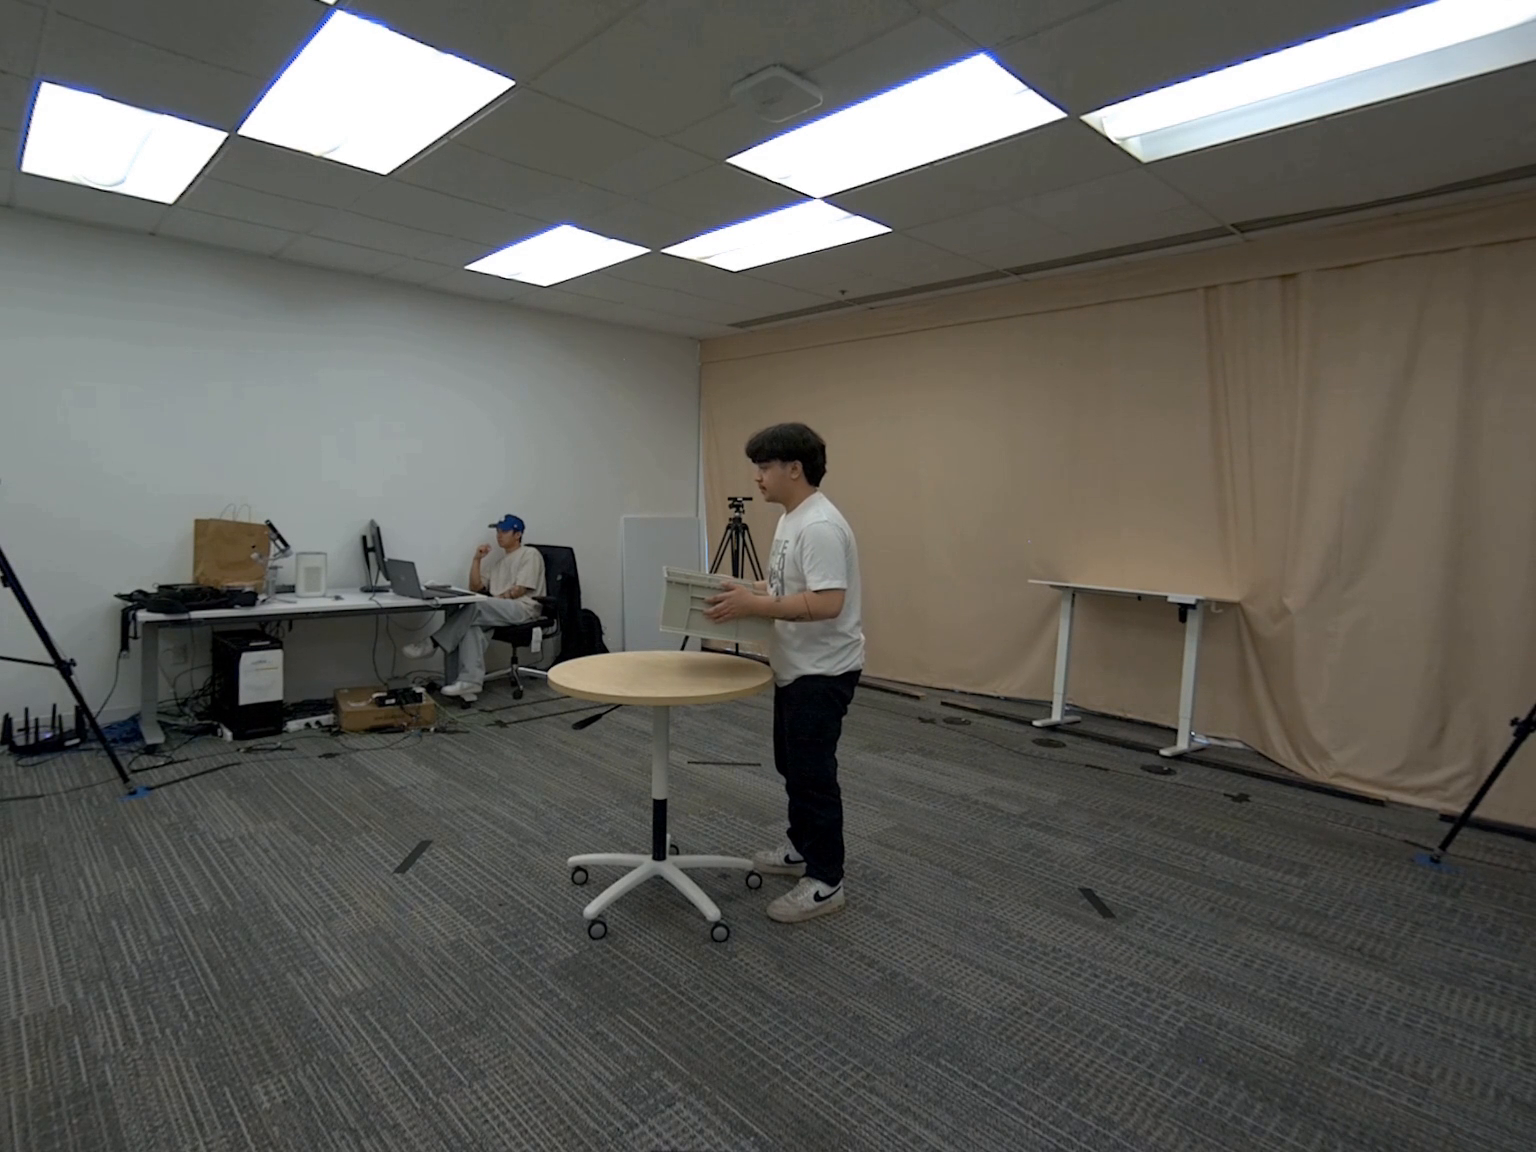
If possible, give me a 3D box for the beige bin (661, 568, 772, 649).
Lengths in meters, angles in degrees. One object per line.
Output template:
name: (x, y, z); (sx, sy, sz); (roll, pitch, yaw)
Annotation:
beige bin: (-0.196, 0.106, 2.902); (0.375, 0.188, 0.425); (8, 4, -6)
